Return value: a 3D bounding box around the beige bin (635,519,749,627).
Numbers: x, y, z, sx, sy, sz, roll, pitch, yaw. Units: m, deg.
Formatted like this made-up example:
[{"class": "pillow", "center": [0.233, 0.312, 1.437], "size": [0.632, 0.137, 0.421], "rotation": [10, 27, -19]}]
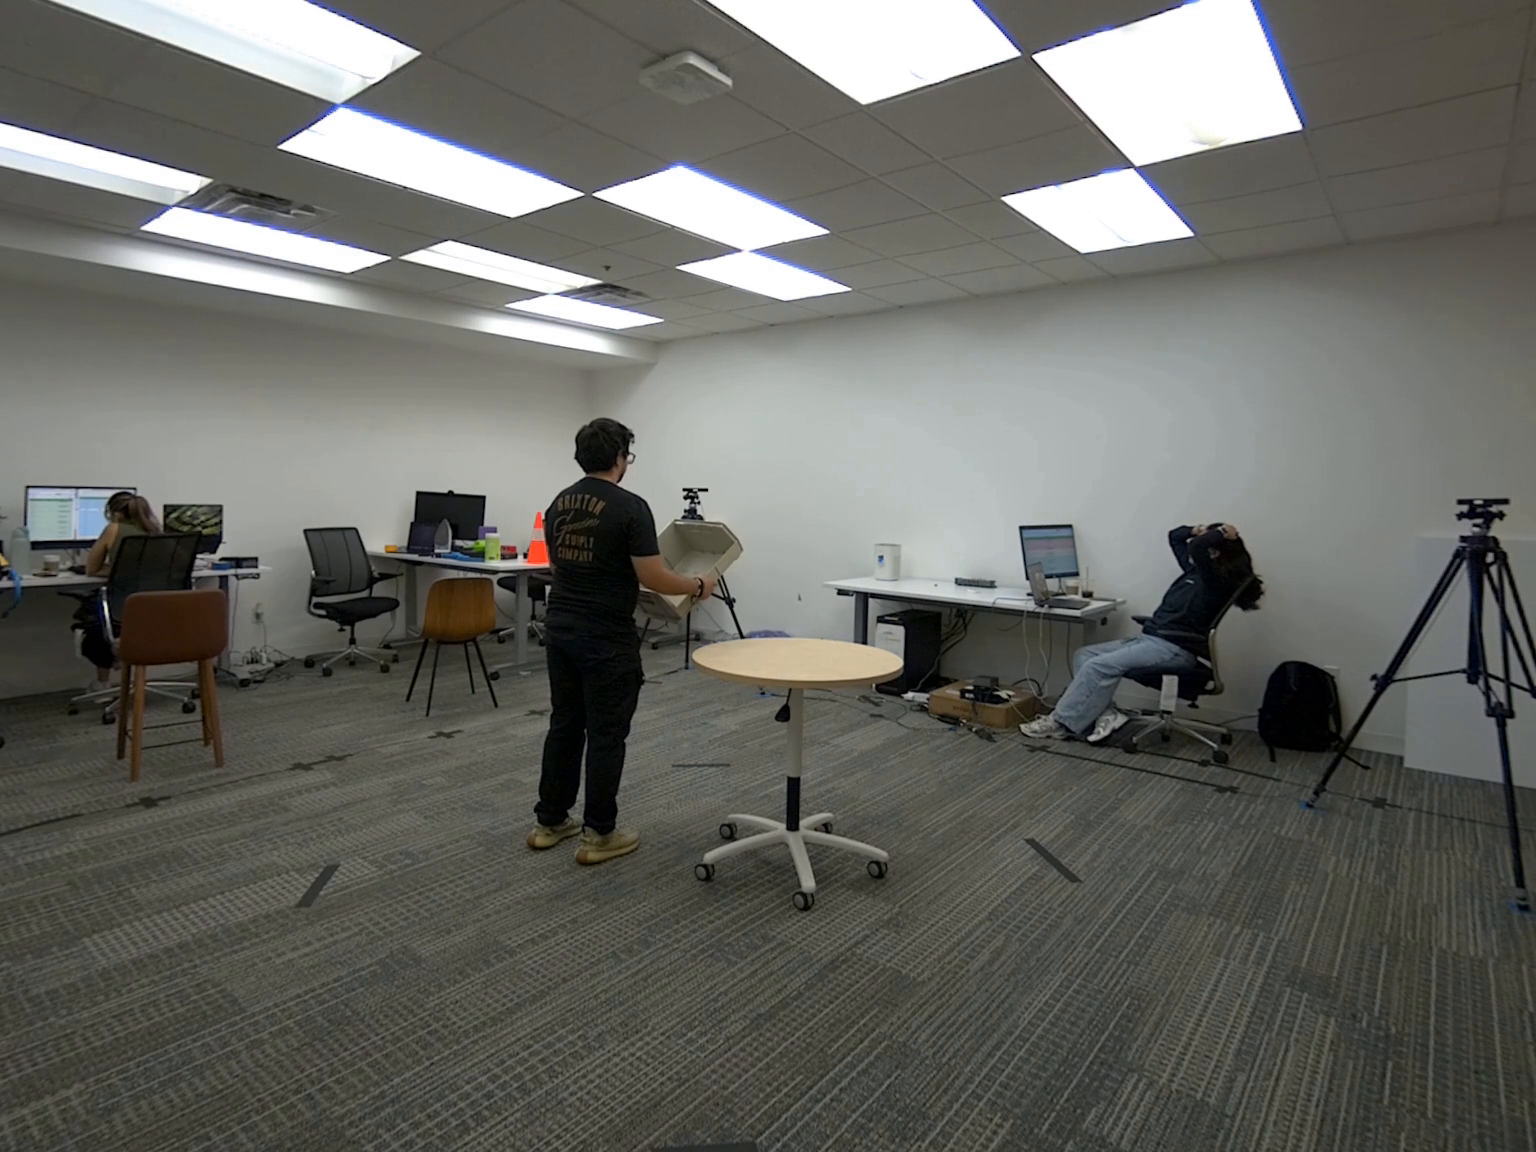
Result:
[{"class": "beige bin", "center": [-0.377, -0.029, 3.522], "size": [0.390, 0.183, 0.422], "rotation": [5, 46, 49]}]
